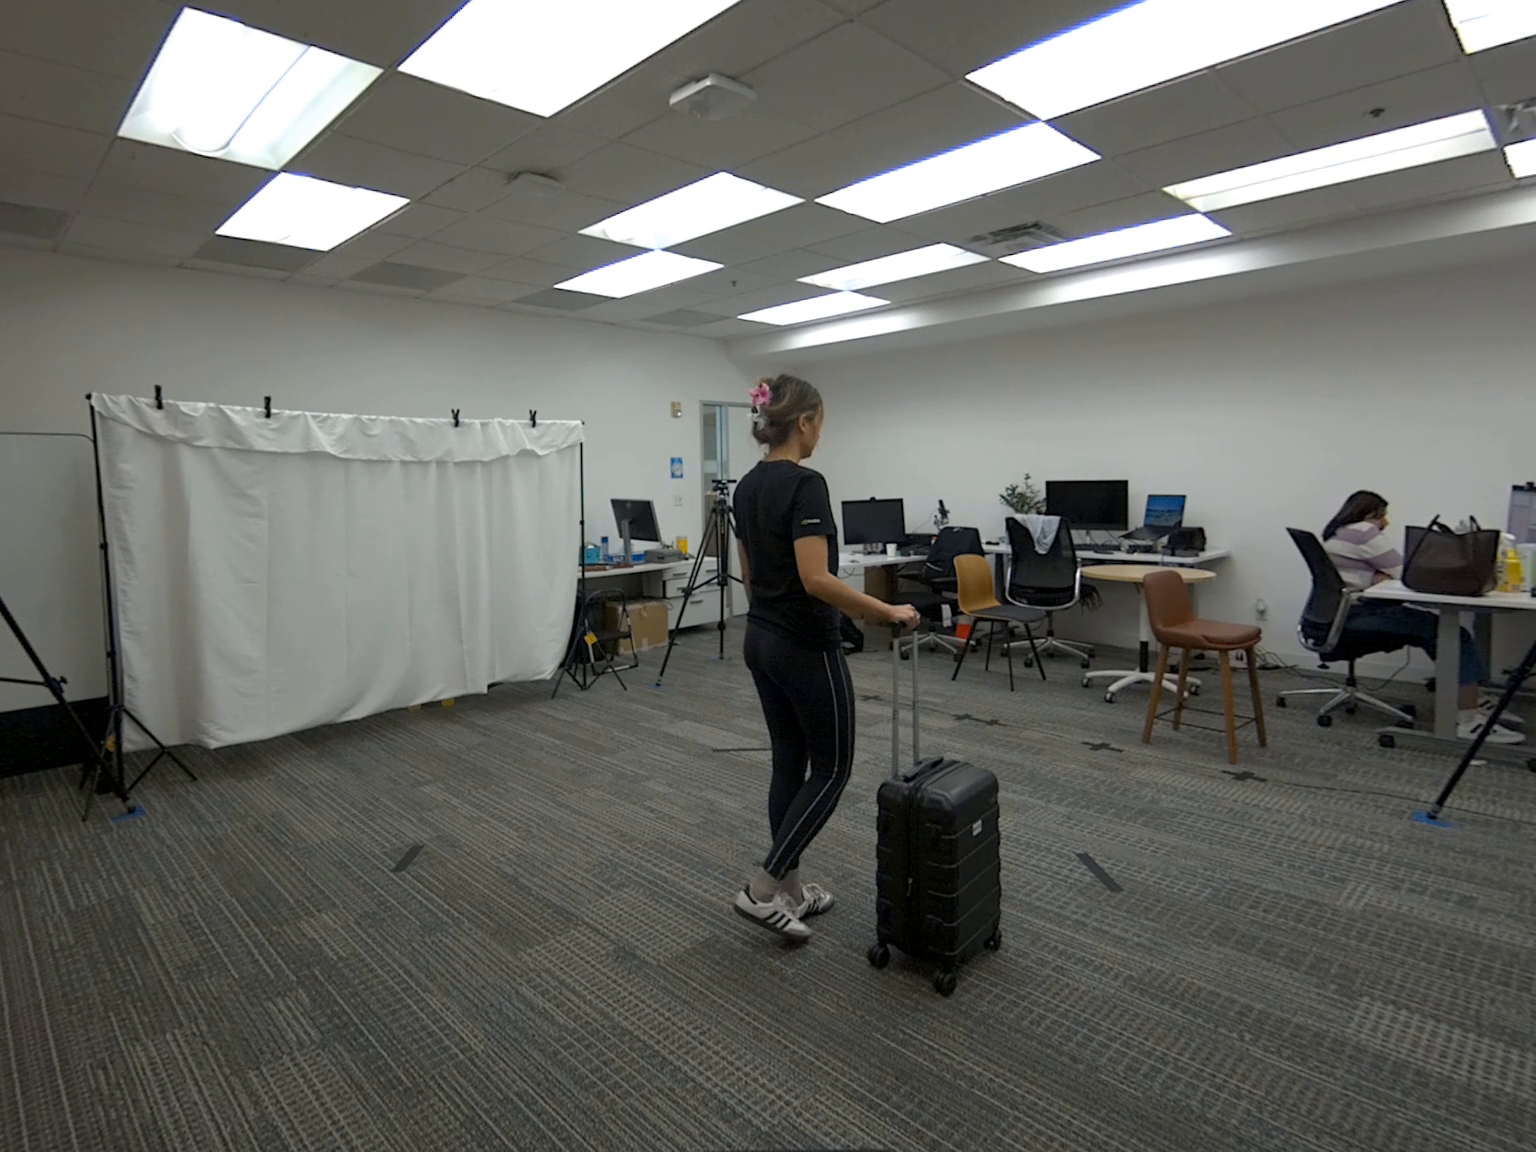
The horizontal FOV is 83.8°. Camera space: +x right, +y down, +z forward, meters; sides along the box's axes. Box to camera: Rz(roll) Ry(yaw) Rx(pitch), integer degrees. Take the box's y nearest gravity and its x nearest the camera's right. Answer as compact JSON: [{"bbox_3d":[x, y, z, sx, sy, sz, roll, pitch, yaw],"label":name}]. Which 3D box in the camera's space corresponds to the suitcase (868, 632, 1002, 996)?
[{"bbox_3d":[0.511,0.636,2.477,0.265,0.976,0.373,3,3,44],"label":"suitcase"}]
